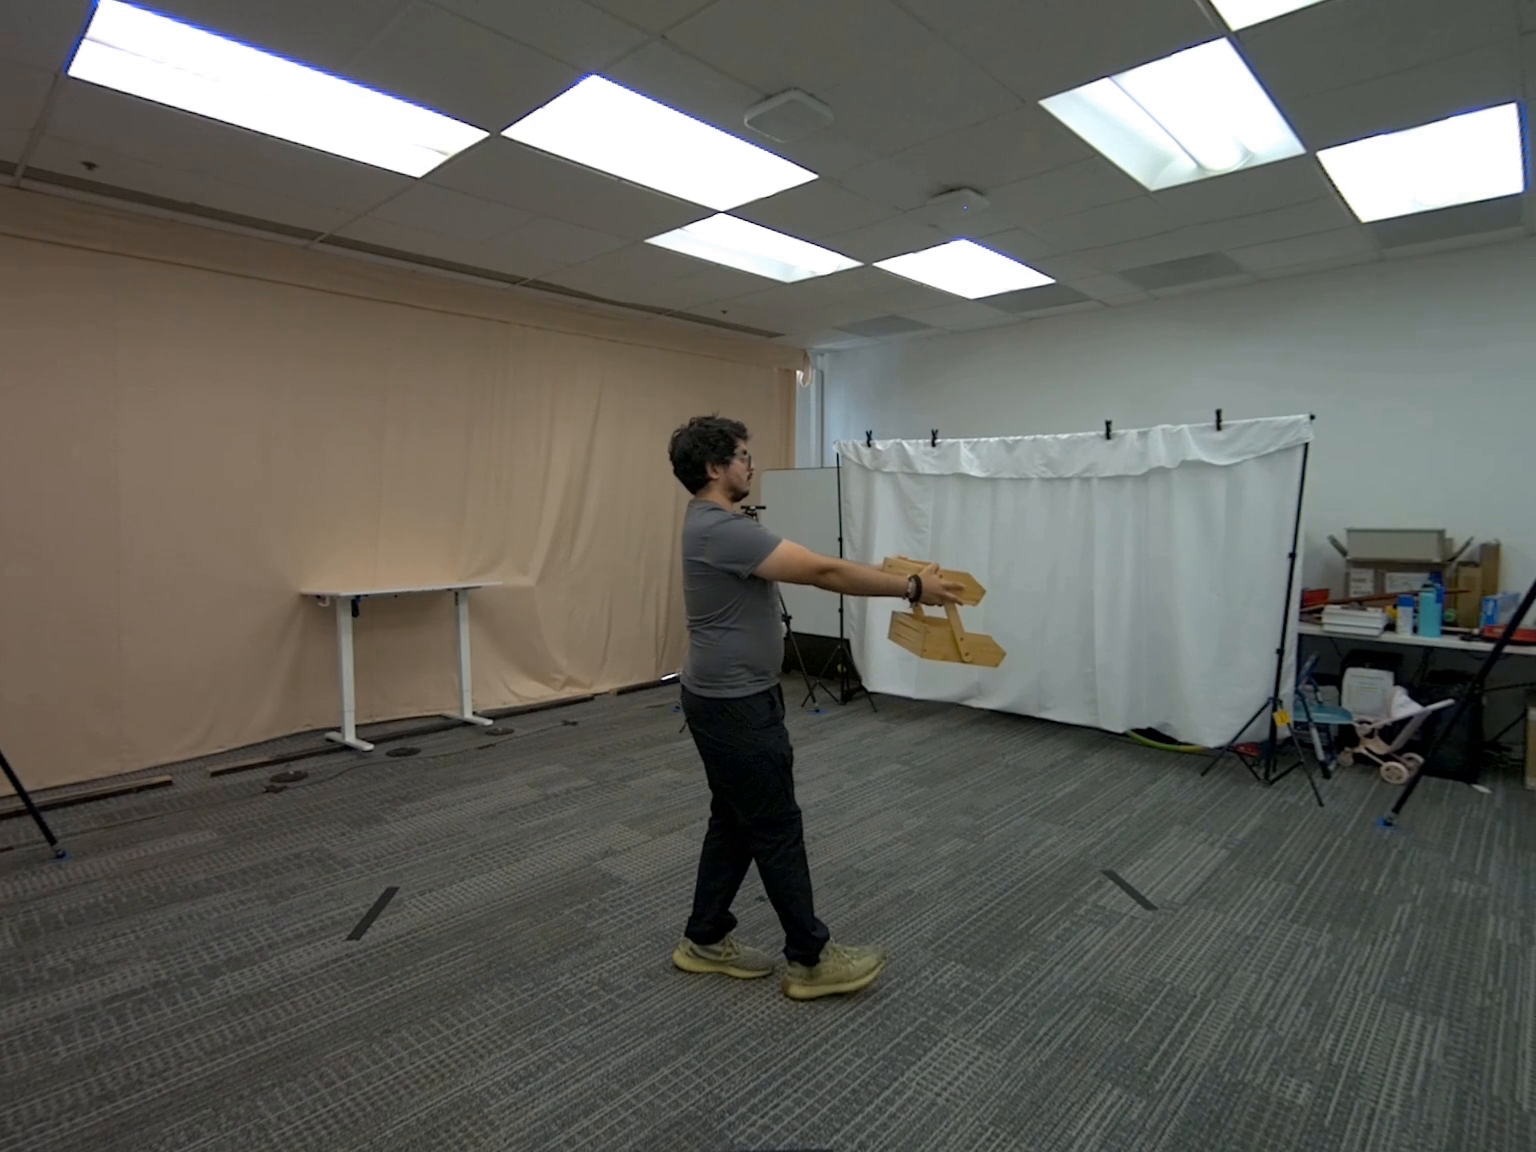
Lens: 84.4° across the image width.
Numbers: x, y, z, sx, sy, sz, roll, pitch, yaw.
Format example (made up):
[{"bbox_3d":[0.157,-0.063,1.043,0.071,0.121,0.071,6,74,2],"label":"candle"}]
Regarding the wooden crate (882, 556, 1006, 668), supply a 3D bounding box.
[{"bbox_3d":[0.539,0.100,2.526,0.300,0.273,0.328,7,4,-8],"label":"wooden crate"}]
